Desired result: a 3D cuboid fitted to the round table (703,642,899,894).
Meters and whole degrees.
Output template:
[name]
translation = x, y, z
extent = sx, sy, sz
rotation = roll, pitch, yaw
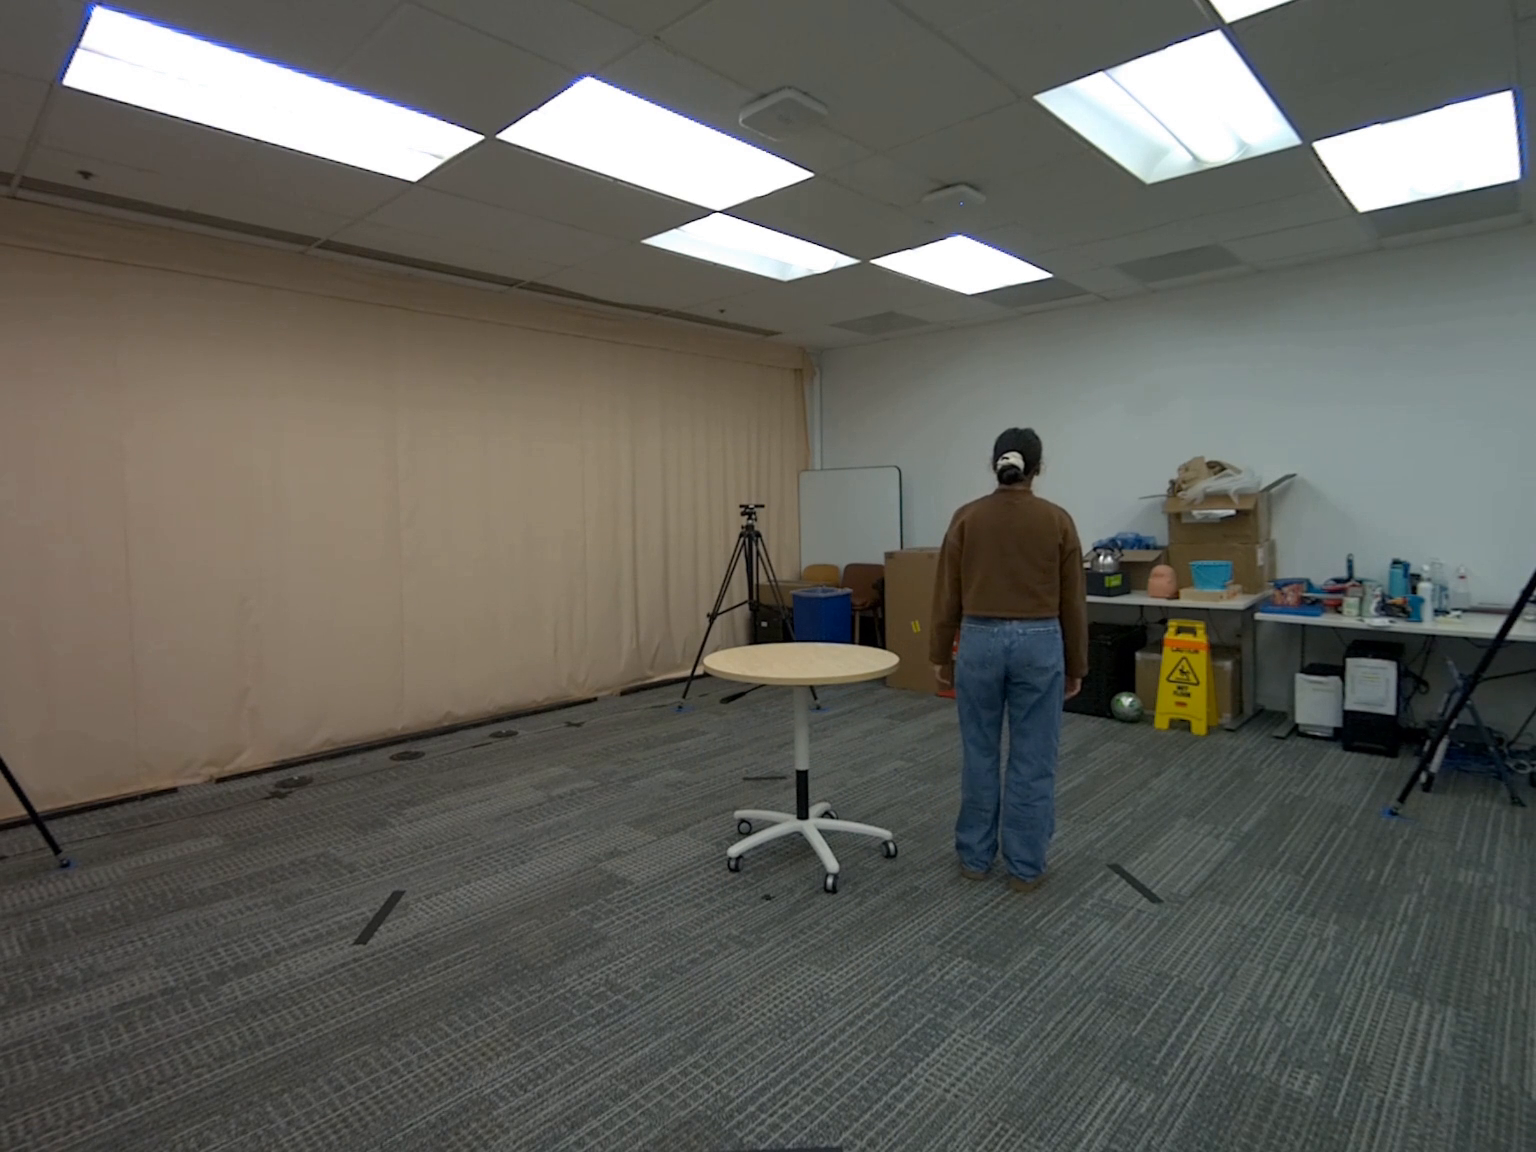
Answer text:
[round table]
translation = 0.124, 0.712, 3.337
extent = 0.784, 0.785, 0.787
rotation = -1, 3, -2
